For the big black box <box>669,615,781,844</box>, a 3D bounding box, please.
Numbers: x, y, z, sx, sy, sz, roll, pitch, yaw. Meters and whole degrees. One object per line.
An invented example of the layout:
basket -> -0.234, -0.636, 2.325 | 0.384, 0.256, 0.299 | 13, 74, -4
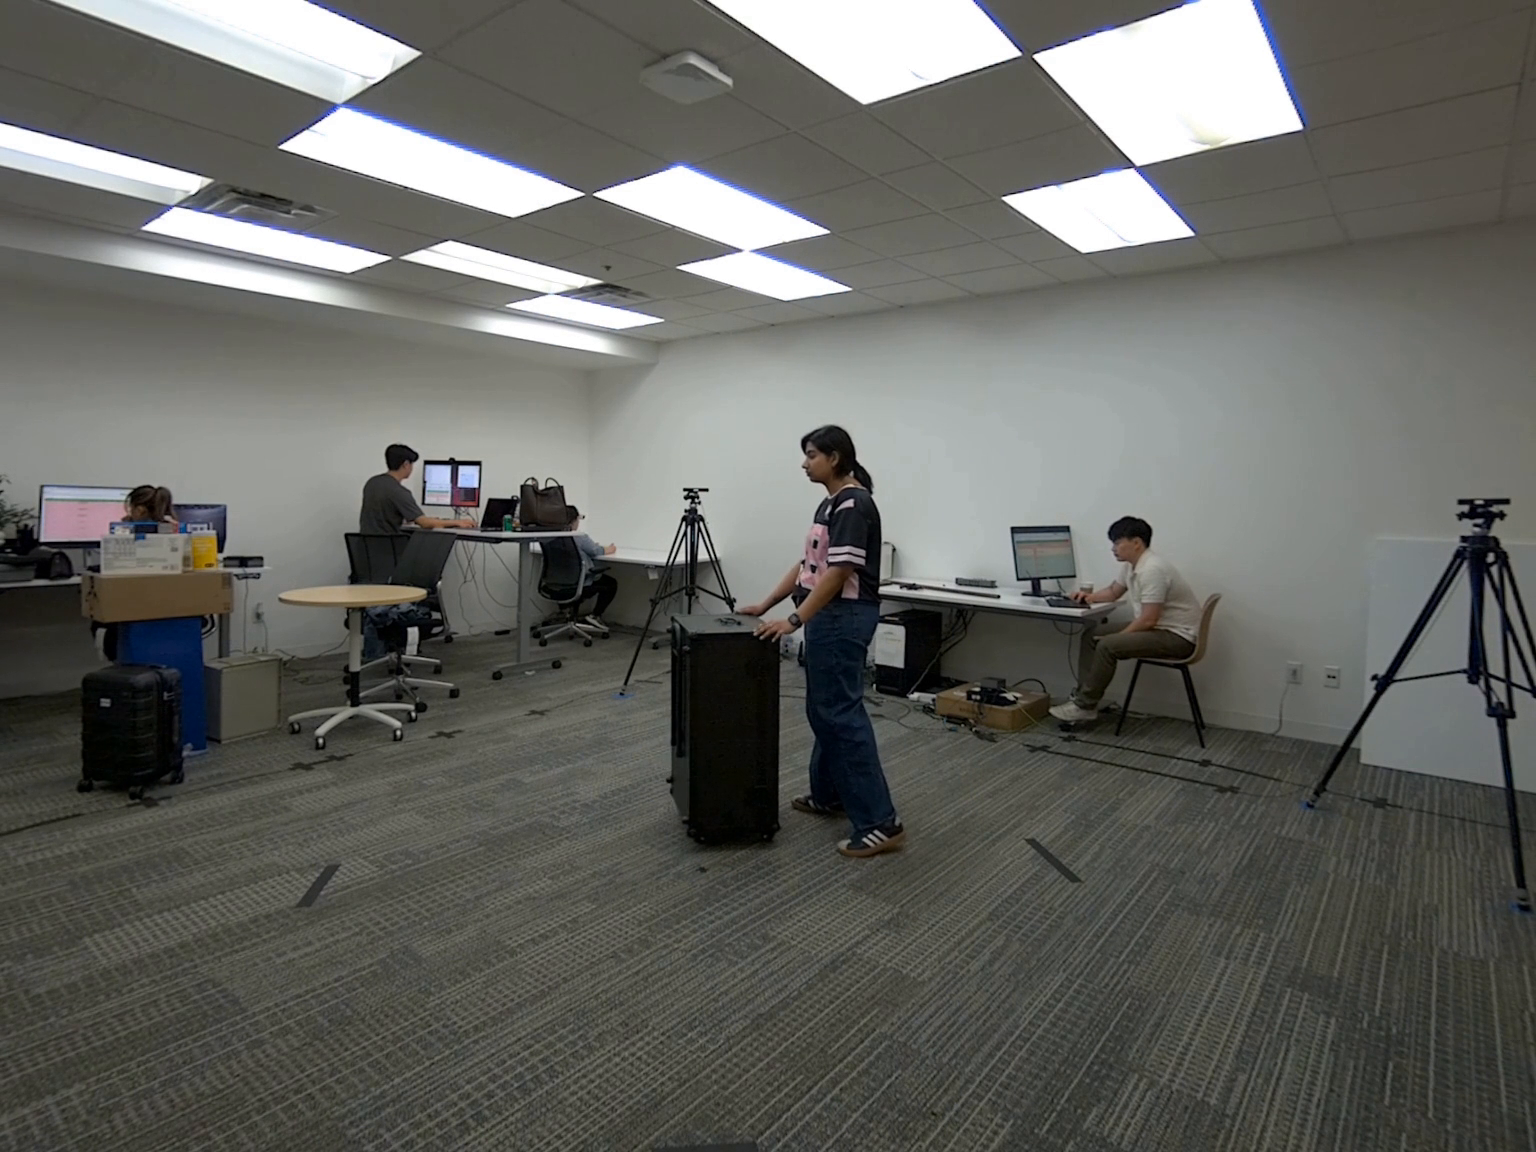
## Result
big black box -> -0.199, 0.614, 3.468 | 0.380, 0.866, 0.532 | 0, 3, -14
